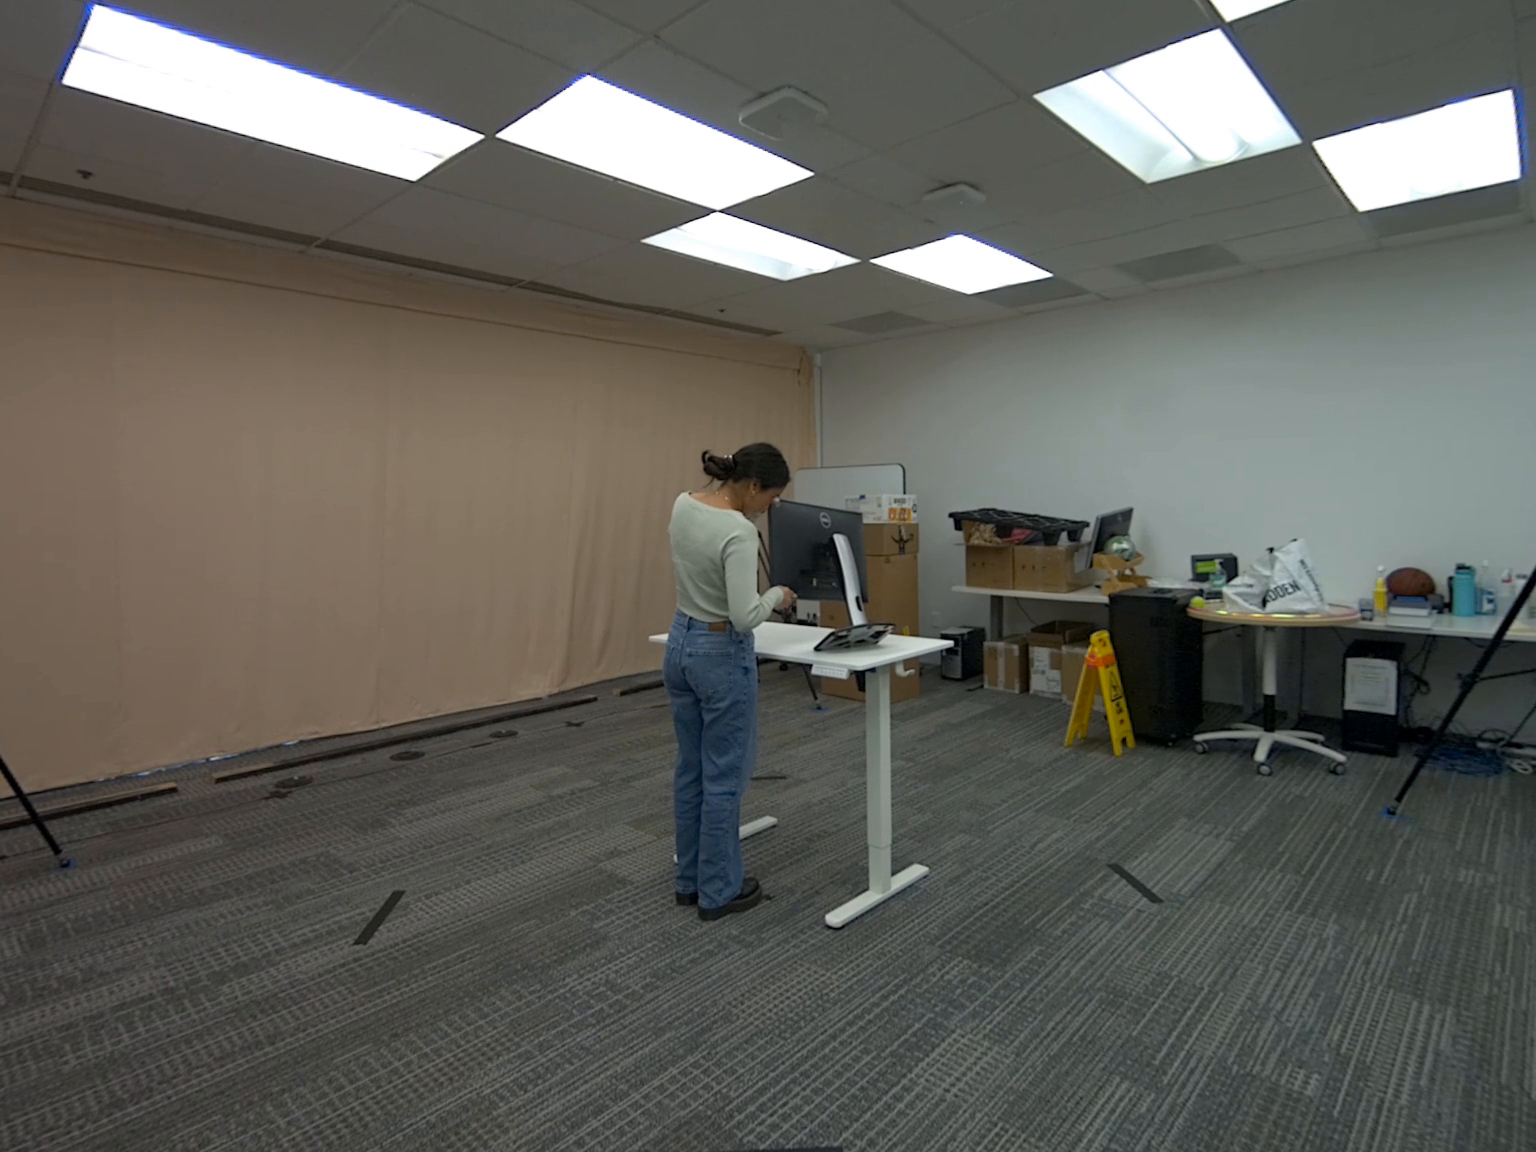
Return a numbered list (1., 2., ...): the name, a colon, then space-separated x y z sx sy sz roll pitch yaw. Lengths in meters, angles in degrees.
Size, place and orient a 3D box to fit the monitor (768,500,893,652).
1. monitor: 0.243 -0.010 2.998 0.190 0.530 0.521 -28 -22 37
